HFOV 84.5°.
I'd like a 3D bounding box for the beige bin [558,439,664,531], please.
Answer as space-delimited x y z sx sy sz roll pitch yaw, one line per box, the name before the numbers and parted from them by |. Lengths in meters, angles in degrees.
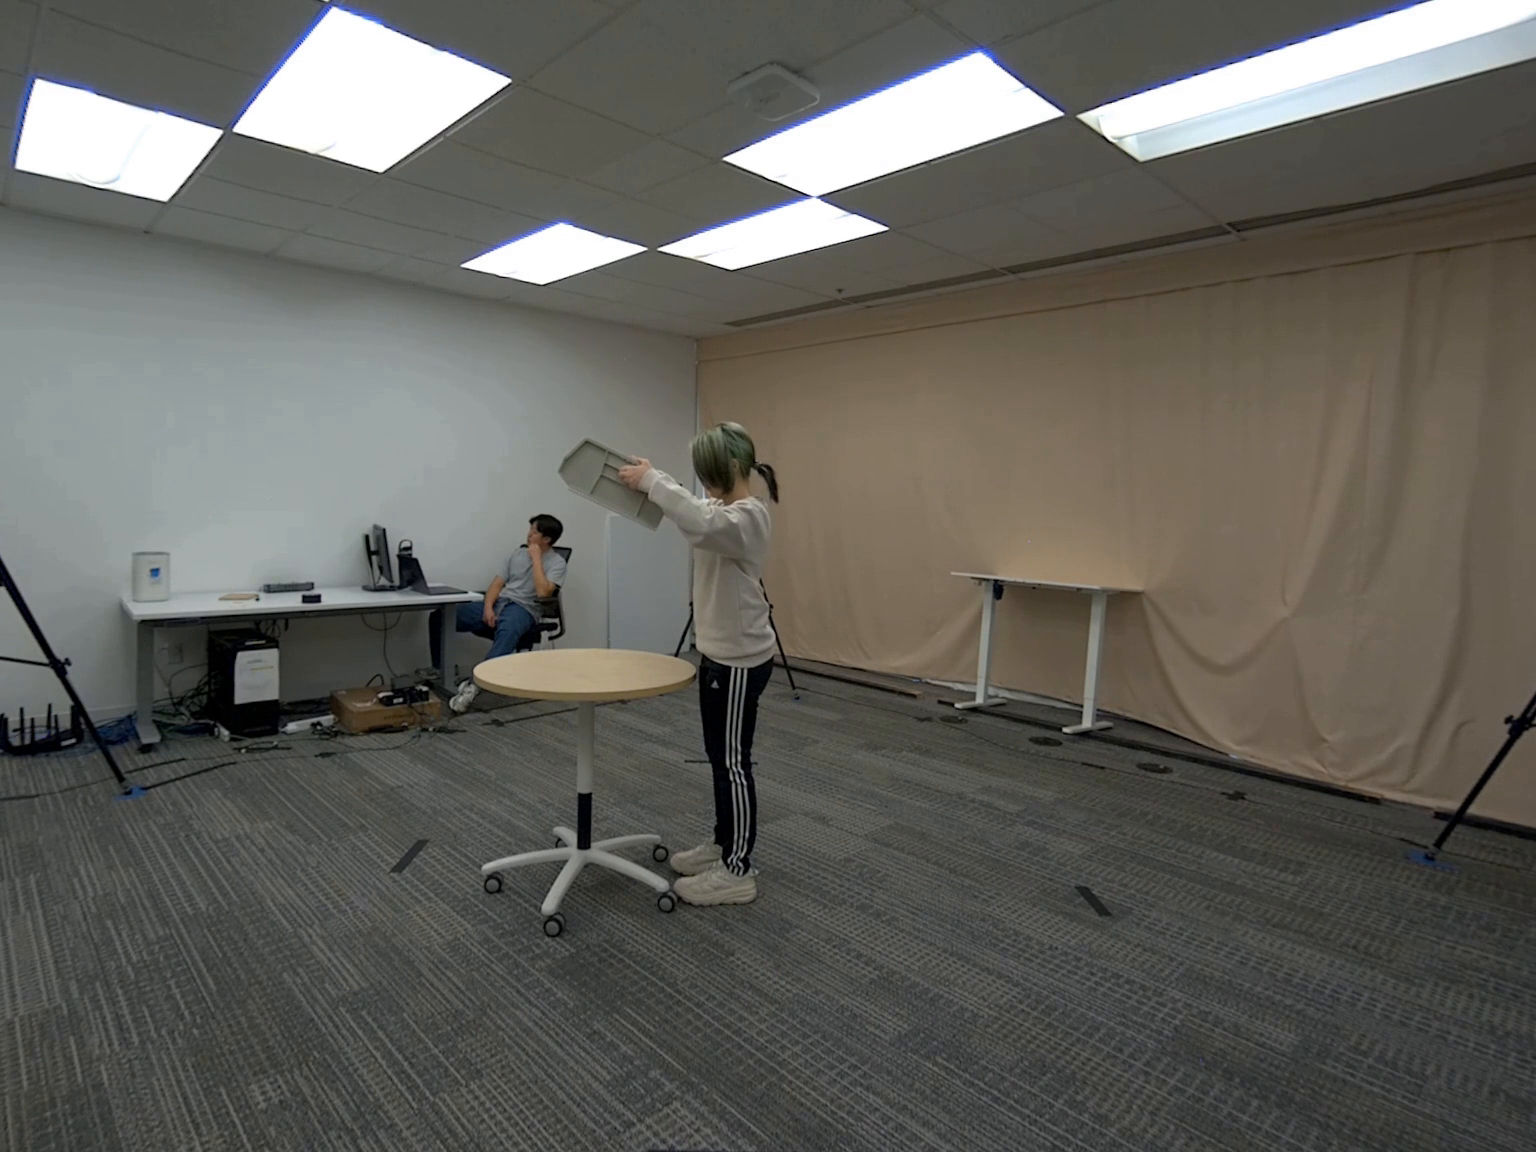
beige bin | -0.524 -0.320 2.895 0.373 0.189 0.428 27 2 -12
